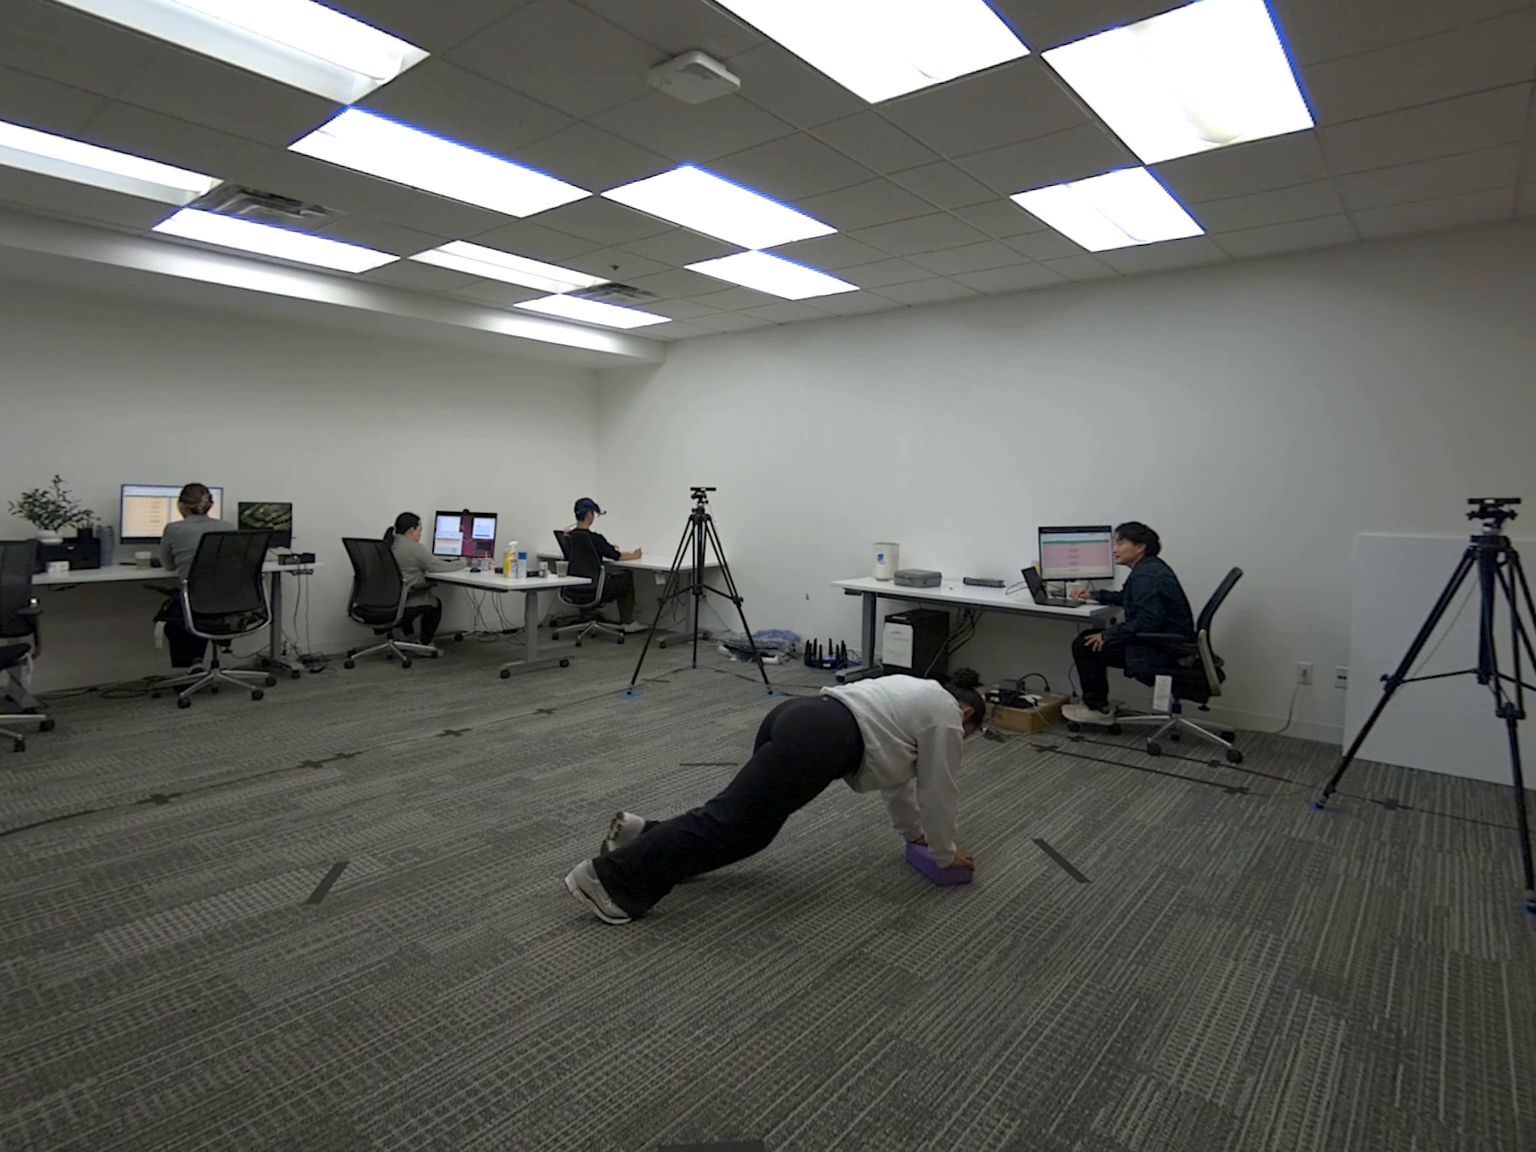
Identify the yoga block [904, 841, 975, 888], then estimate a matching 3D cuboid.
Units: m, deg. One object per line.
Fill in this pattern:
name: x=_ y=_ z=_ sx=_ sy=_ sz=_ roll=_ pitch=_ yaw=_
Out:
yoga block: x=0.624 y=1.056 z=3.137 sx=0.146 sy=0.076 sz=0.234 roll=0 pitch=5 yaw=-20
